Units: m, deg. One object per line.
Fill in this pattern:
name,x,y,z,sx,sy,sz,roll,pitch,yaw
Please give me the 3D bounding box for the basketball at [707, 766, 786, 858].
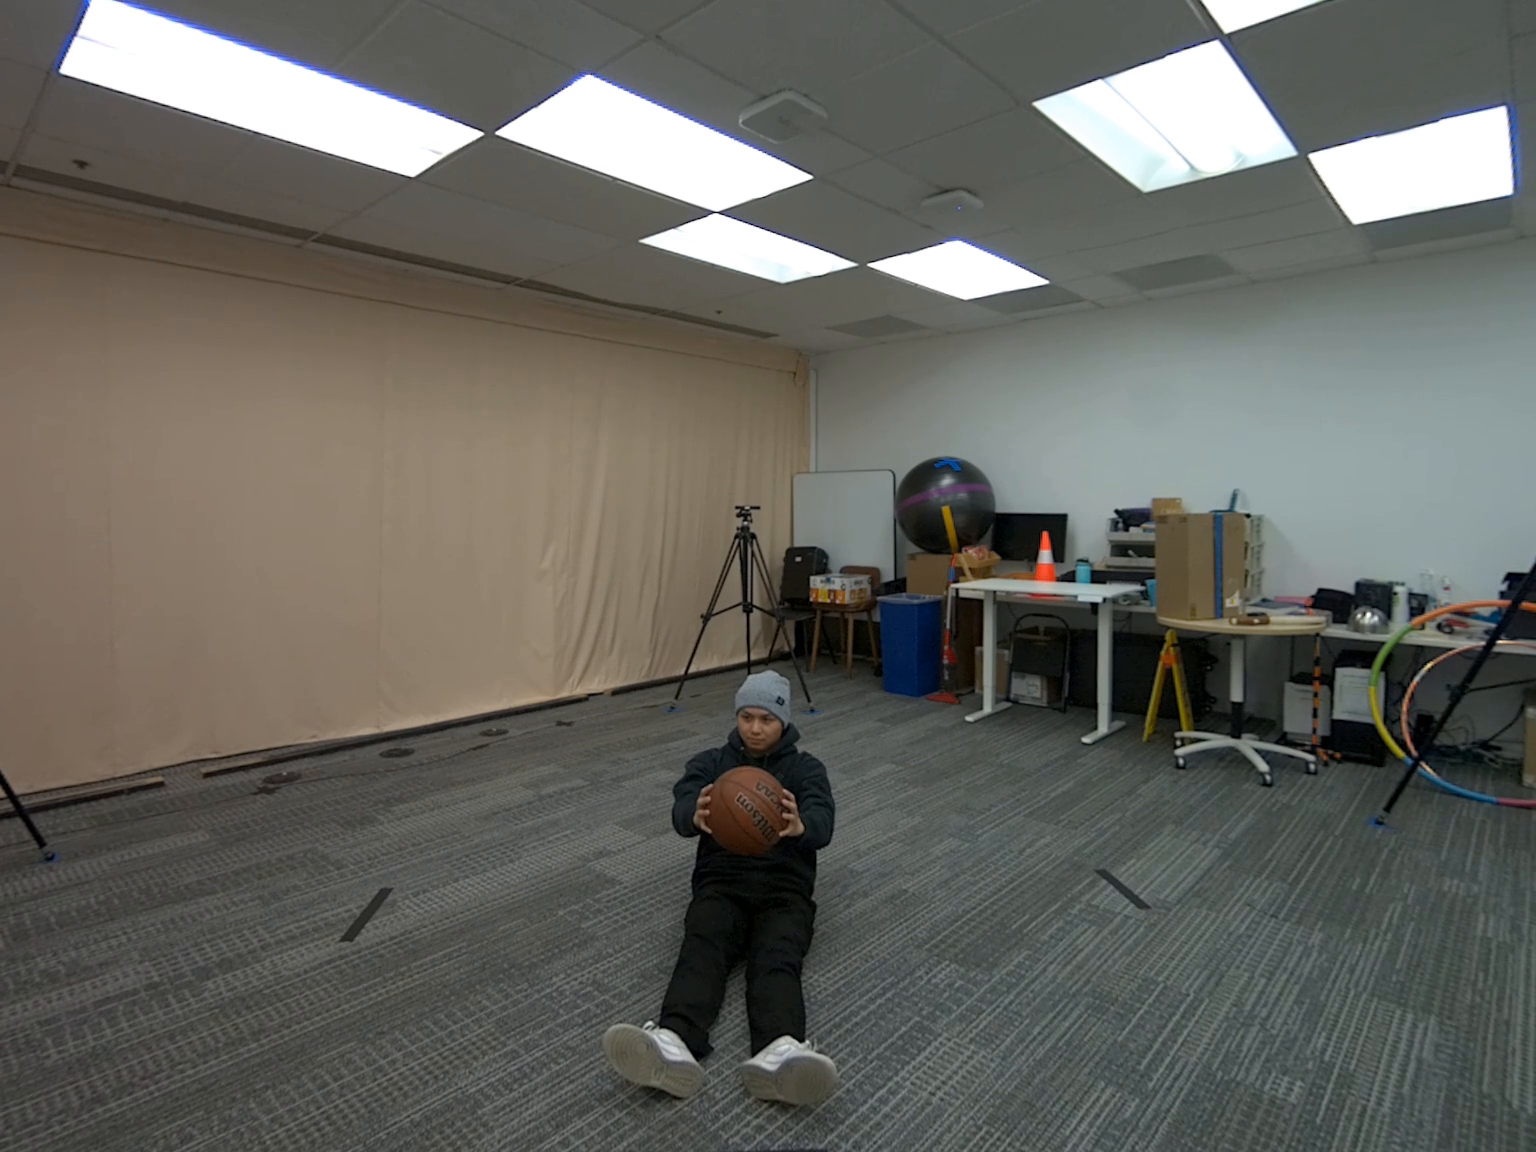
basketball,-0.068,0.664,2.393,0.236,0.235,0.237,0,4,-2
